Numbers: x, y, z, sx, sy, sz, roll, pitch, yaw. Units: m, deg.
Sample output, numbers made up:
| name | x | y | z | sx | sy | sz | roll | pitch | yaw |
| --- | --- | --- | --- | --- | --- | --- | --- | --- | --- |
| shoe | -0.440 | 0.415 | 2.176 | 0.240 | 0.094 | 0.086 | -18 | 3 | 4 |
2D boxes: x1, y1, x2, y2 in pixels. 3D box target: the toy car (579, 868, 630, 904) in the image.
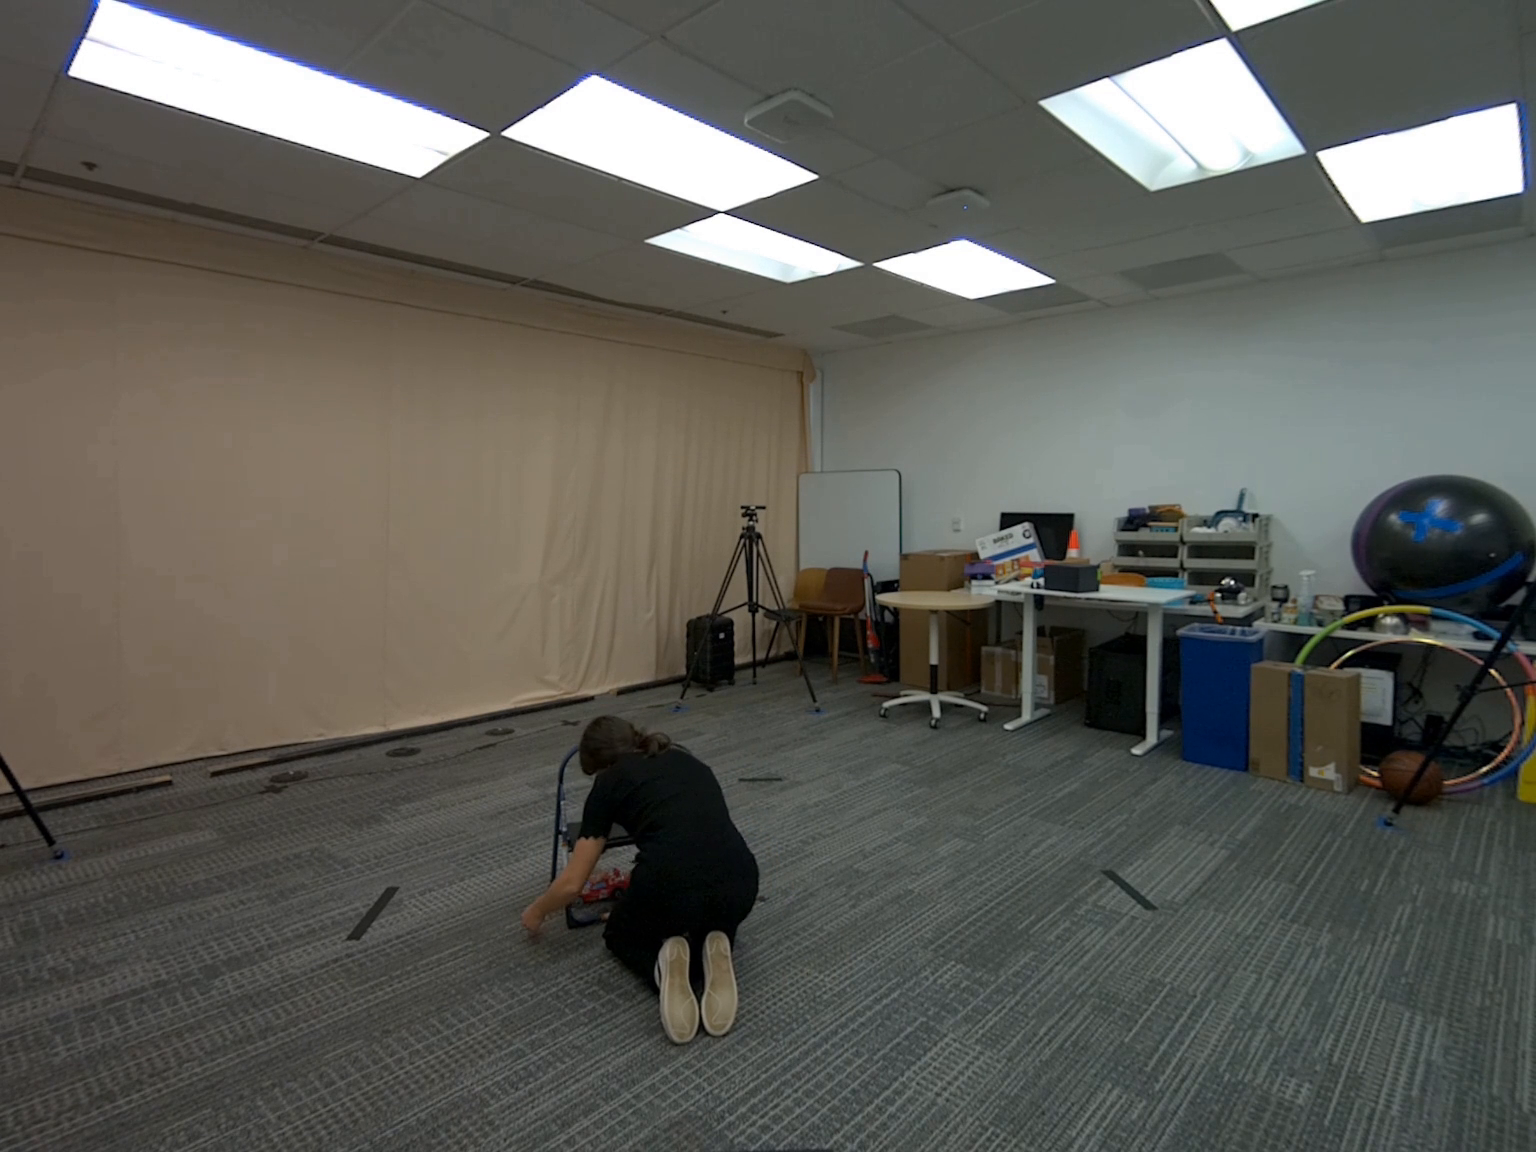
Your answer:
| name | x | y | z | sx | sy | sz | roll | pitch | yaw |
| --- | --- | --- | --- | --- | --- | --- | --- | --- | --- |
| toy car | -0.602 | 1.126 | 3.014 | 0.250 | 0.083 | 0.133 | -15 | 9 | -19 |
